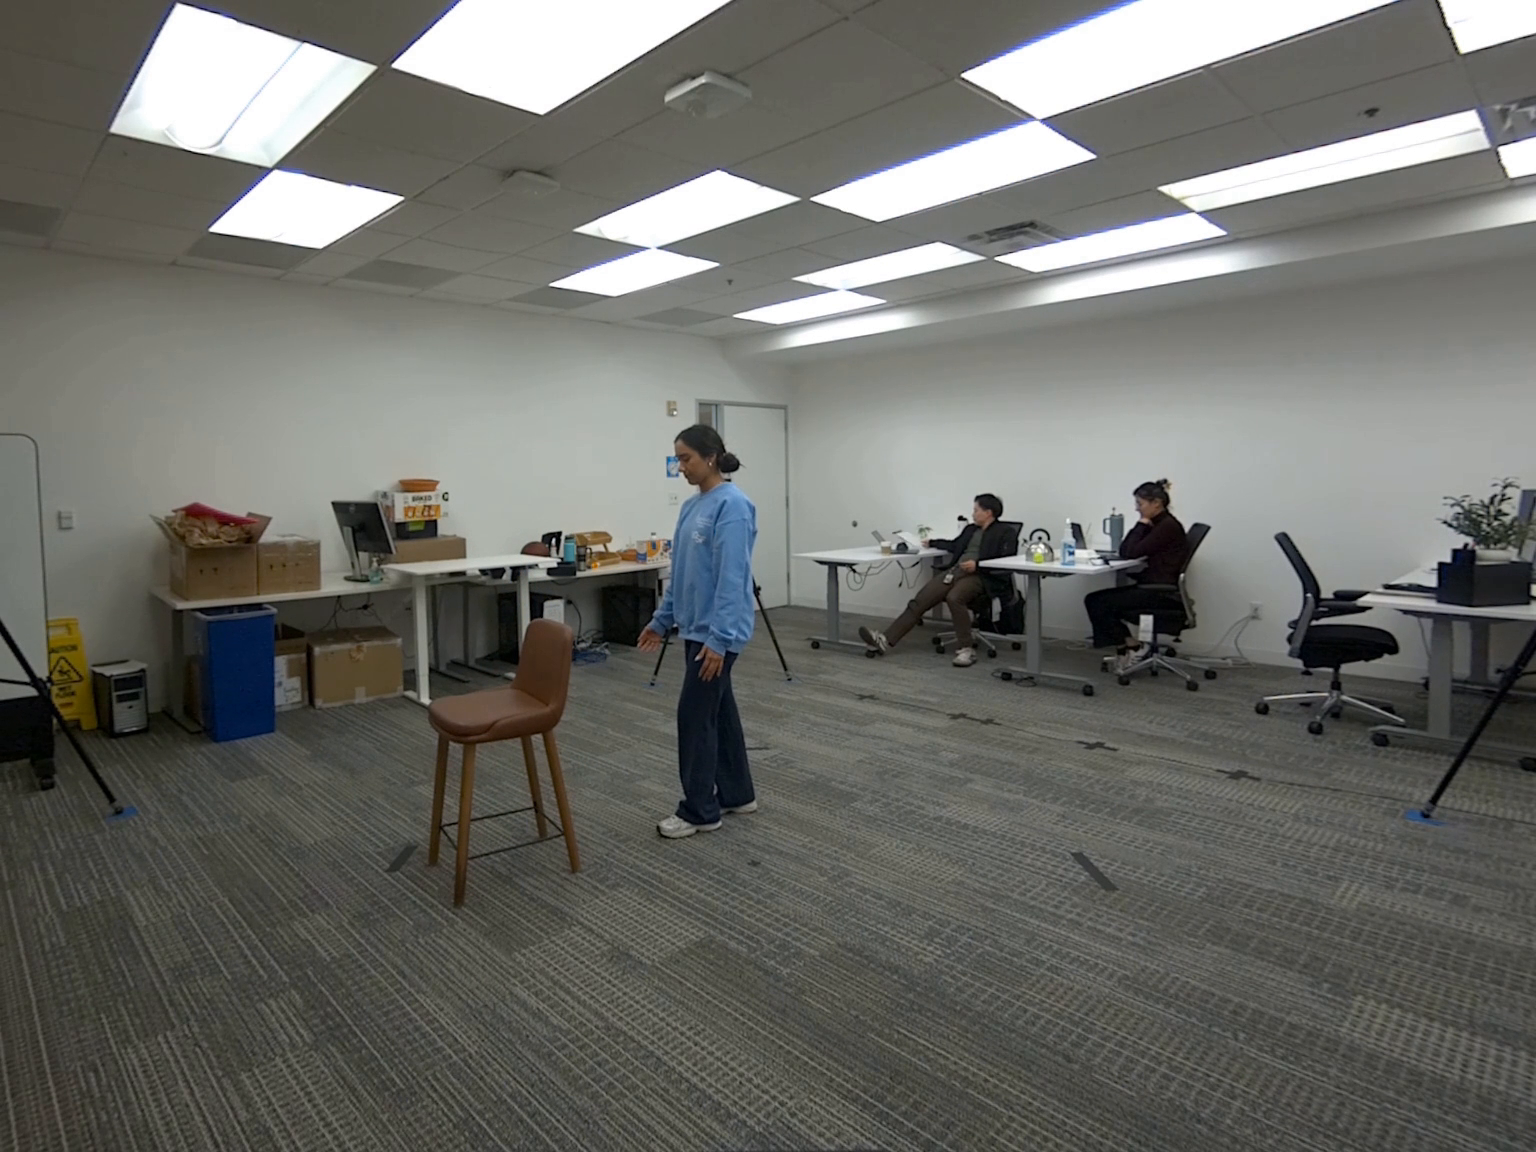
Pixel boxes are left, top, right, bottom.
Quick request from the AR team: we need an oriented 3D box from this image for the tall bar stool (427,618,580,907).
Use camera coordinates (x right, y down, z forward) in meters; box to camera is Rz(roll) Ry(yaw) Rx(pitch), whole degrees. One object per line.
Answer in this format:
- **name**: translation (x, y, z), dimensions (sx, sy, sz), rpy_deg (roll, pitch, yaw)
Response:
- **tall bar stool**: translation (-0.955, 0.624, 3.080), dimensions (0.456, 0.887, 0.470), rpy_deg (-1, 4, -33)
